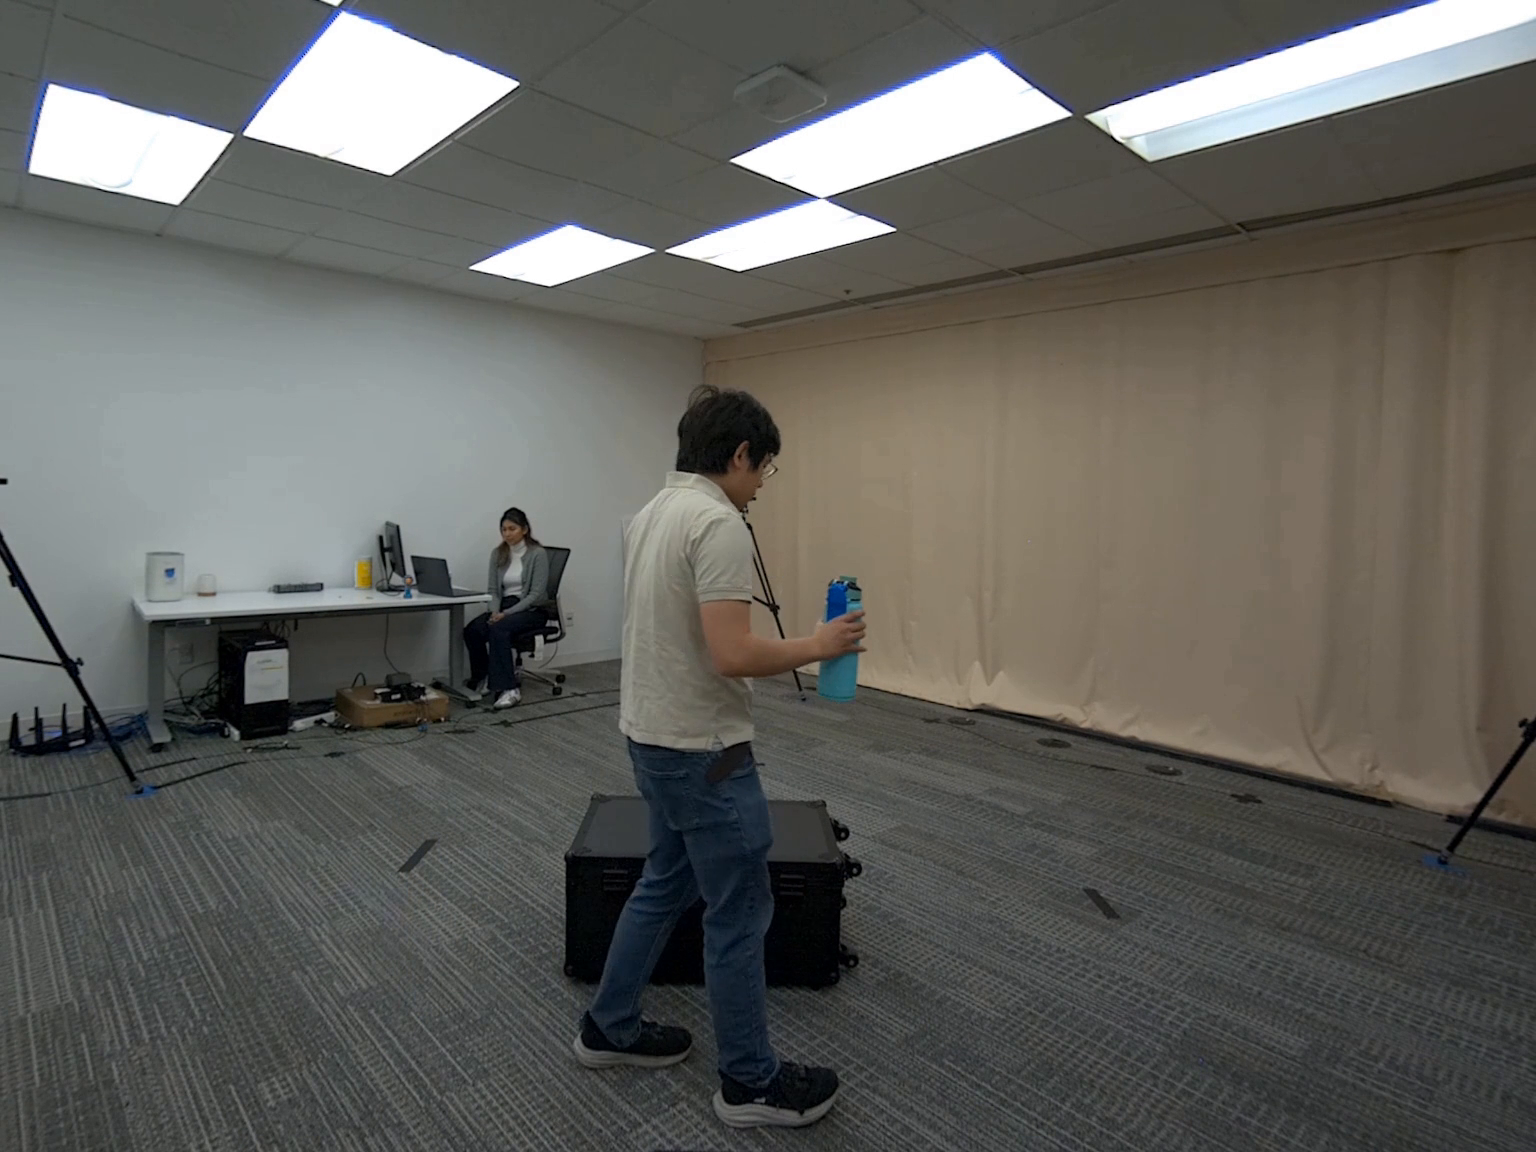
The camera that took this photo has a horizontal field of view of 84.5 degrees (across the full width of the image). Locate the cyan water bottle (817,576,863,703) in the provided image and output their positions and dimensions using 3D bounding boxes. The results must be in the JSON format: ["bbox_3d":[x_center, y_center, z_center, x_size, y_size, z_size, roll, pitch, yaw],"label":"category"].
[{"bbox_3d":[0.158,0.142,1.924,0.092,0.283,0.092,2,2,-2],"label":"cyan water bottle"}]
